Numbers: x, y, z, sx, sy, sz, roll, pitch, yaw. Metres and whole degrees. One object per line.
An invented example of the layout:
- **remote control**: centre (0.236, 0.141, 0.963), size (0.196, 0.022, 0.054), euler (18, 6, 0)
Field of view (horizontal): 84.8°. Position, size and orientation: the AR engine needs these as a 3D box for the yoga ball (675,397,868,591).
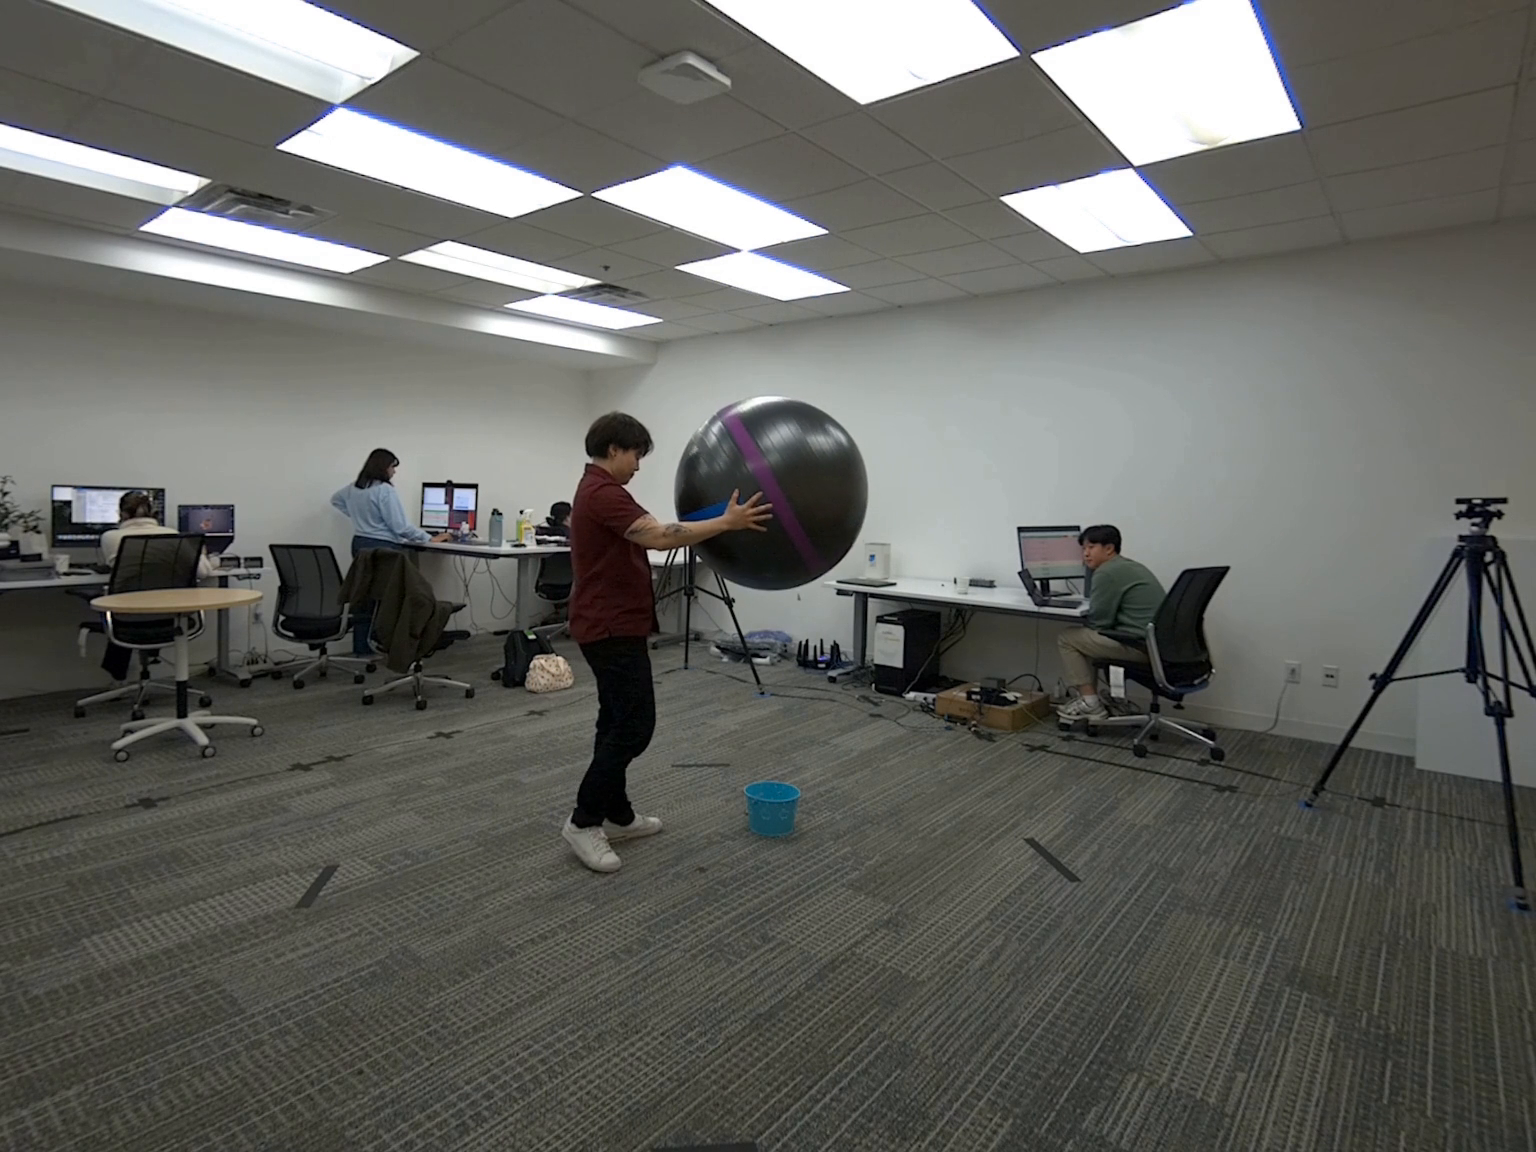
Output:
- **yoga ball**: centre (0.011, -0.324, 3.365), size (0.757, 0.755, 0.762), euler (1, 4, -2)
